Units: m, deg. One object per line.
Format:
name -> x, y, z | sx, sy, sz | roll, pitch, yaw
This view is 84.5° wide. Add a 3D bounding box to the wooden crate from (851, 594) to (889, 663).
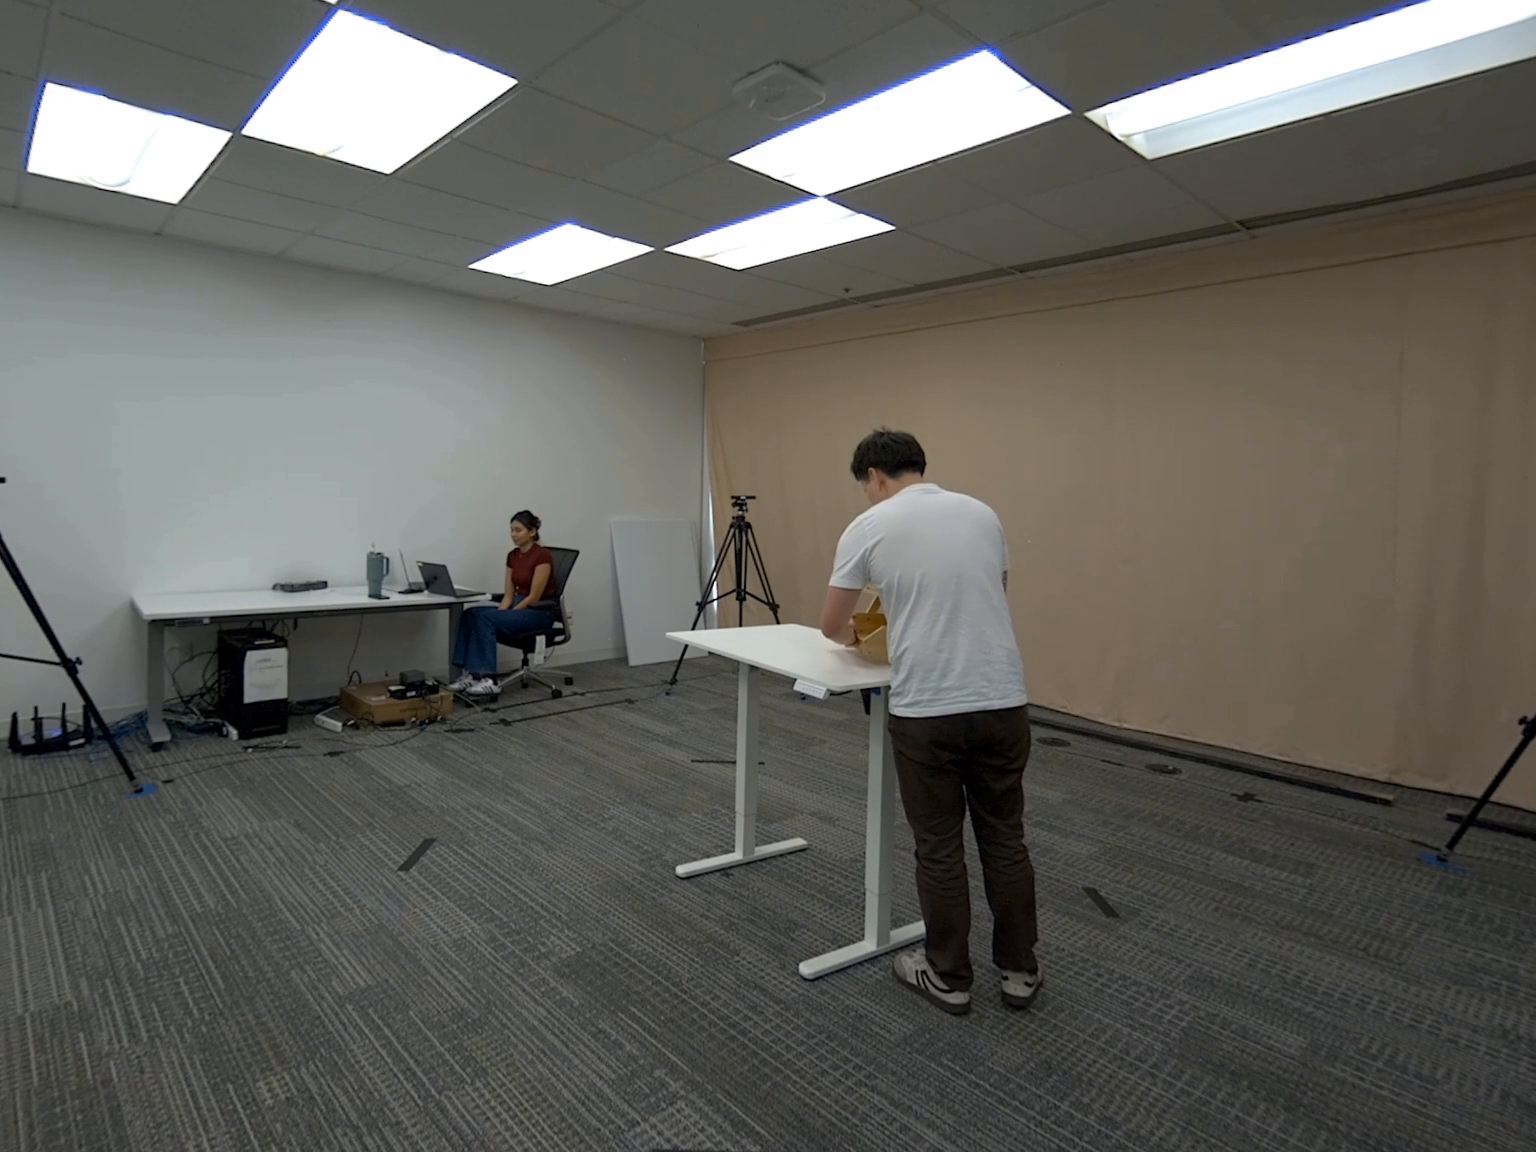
wooden crate -> 0.402, 0.105, 2.743 | 0.298, 0.272, 0.330 | 3, 5, -17
